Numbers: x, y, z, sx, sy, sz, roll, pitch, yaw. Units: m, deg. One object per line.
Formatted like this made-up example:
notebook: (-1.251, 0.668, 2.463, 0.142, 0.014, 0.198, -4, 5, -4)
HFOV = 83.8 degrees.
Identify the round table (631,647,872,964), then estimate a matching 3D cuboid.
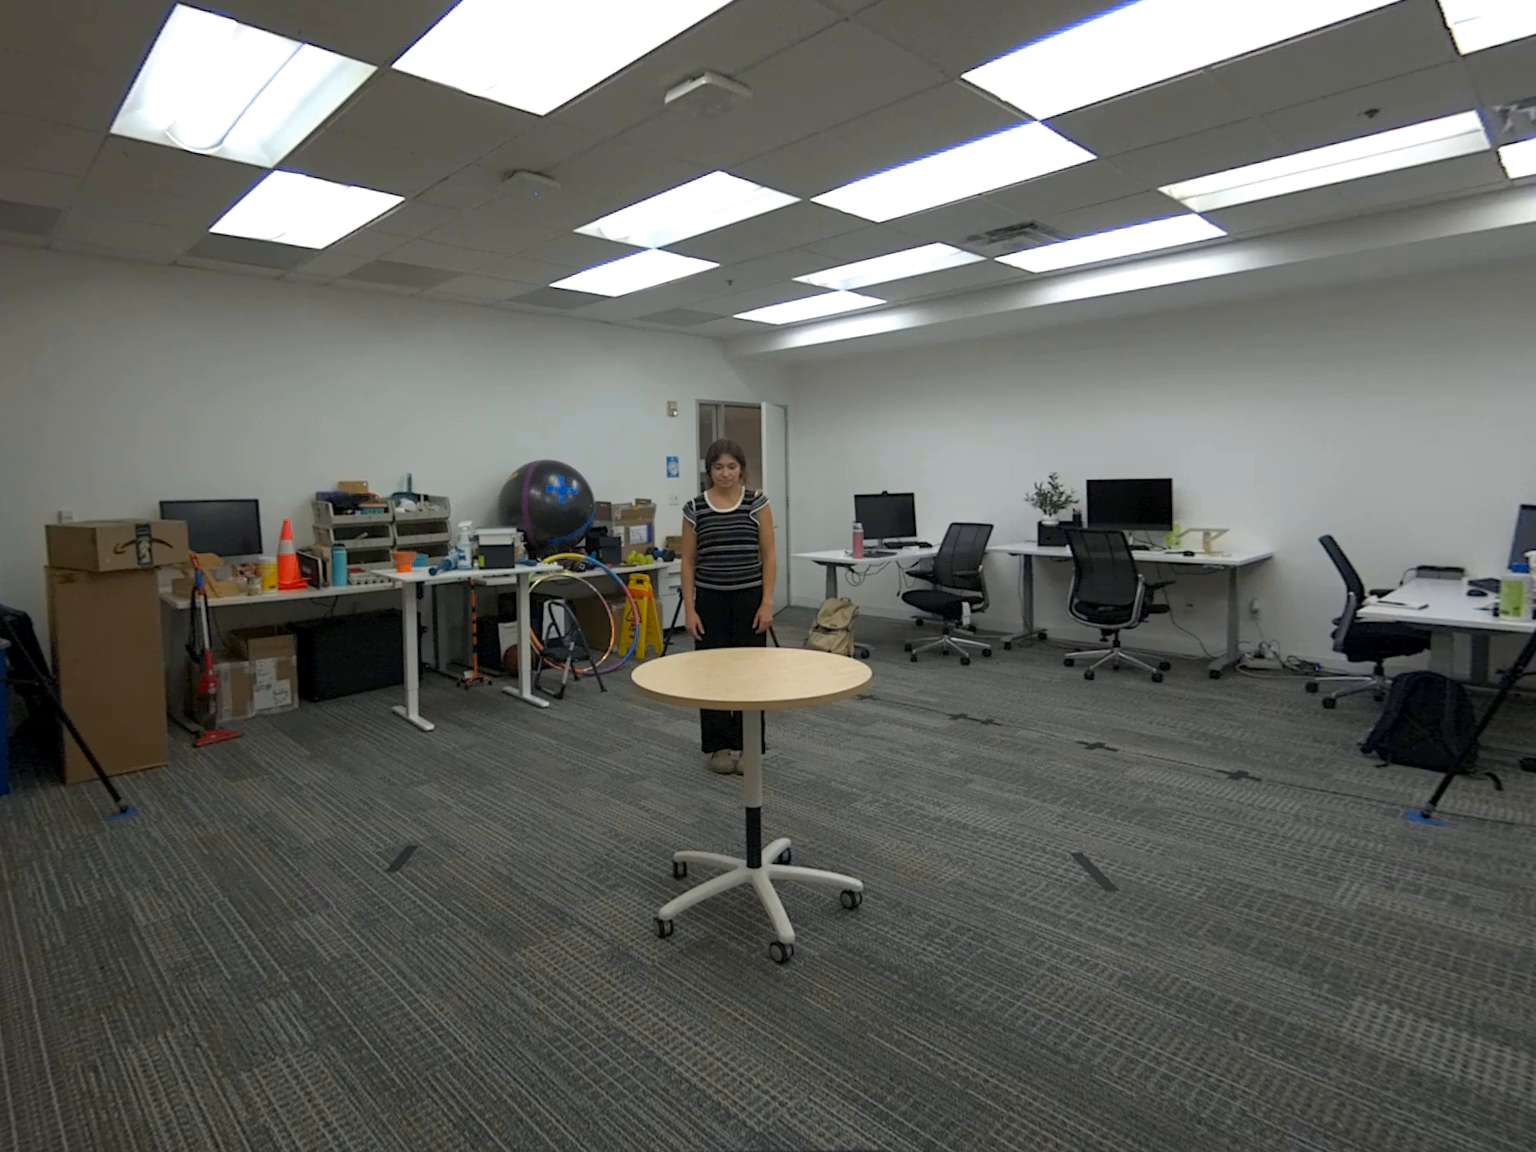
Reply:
round table: (-0.052, 0.701, 2.765, 0.763, 0.791, 0.768, -1, 5, -2)
